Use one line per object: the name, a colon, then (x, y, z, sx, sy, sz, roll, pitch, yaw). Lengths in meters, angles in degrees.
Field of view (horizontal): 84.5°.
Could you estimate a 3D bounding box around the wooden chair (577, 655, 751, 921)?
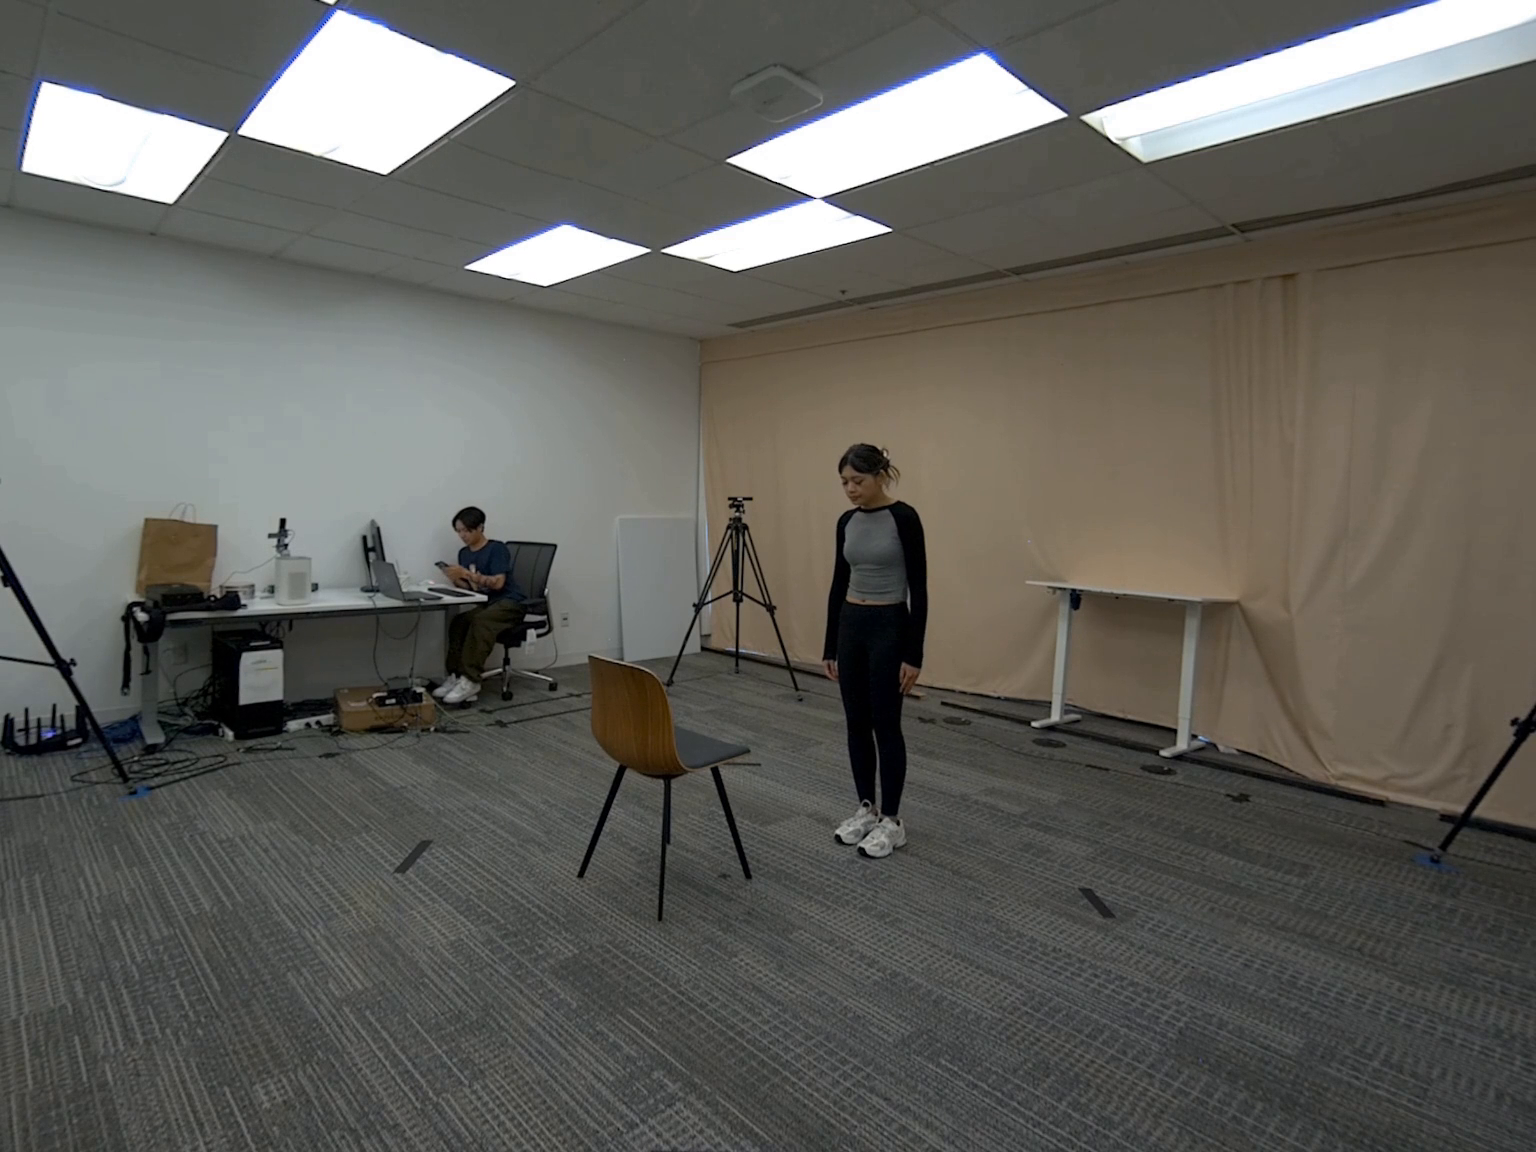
wooden chair: (-0.364, 0.679, 3.048, 0.490, 0.873, 0.512, 4, 9, 42)
